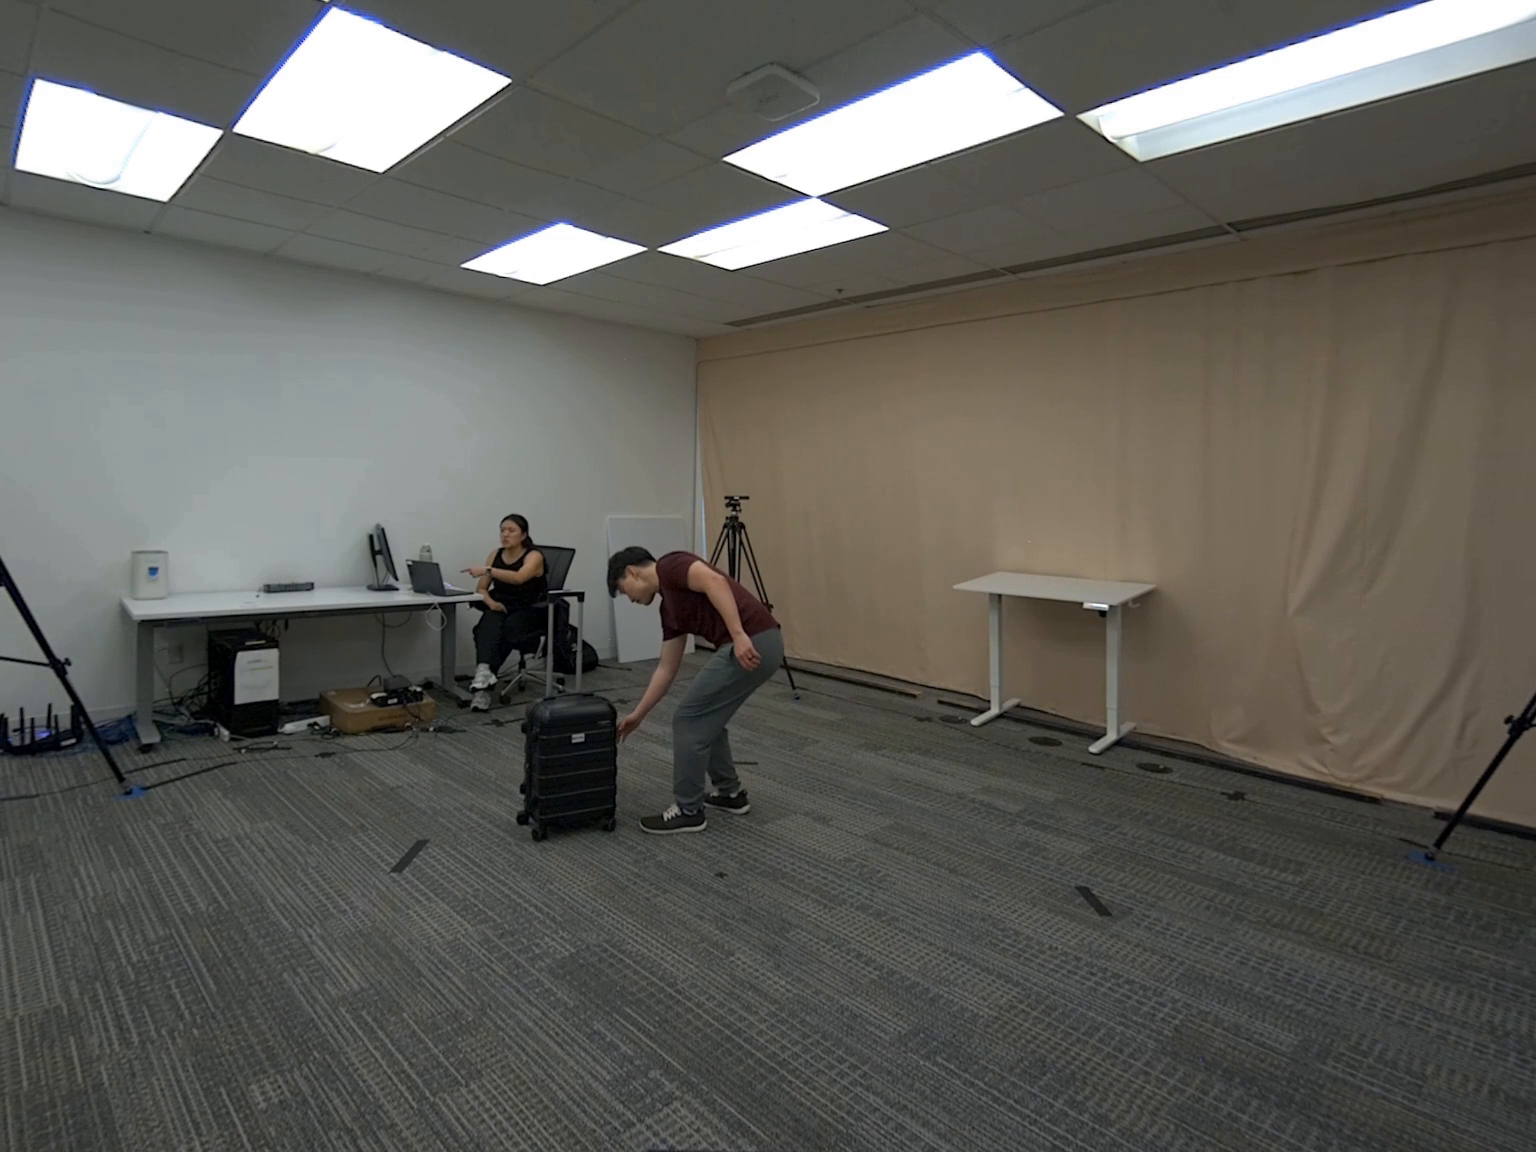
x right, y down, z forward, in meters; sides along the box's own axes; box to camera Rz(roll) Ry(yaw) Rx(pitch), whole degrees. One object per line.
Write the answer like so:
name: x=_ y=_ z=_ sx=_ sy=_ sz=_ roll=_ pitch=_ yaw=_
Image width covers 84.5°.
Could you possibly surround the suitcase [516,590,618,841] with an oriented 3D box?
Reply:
suitcase: x=-0.831 y=0.577 z=3.499 sx=0.376 sy=0.975 sz=0.263 roll=0 pitch=6 yaw=-30
